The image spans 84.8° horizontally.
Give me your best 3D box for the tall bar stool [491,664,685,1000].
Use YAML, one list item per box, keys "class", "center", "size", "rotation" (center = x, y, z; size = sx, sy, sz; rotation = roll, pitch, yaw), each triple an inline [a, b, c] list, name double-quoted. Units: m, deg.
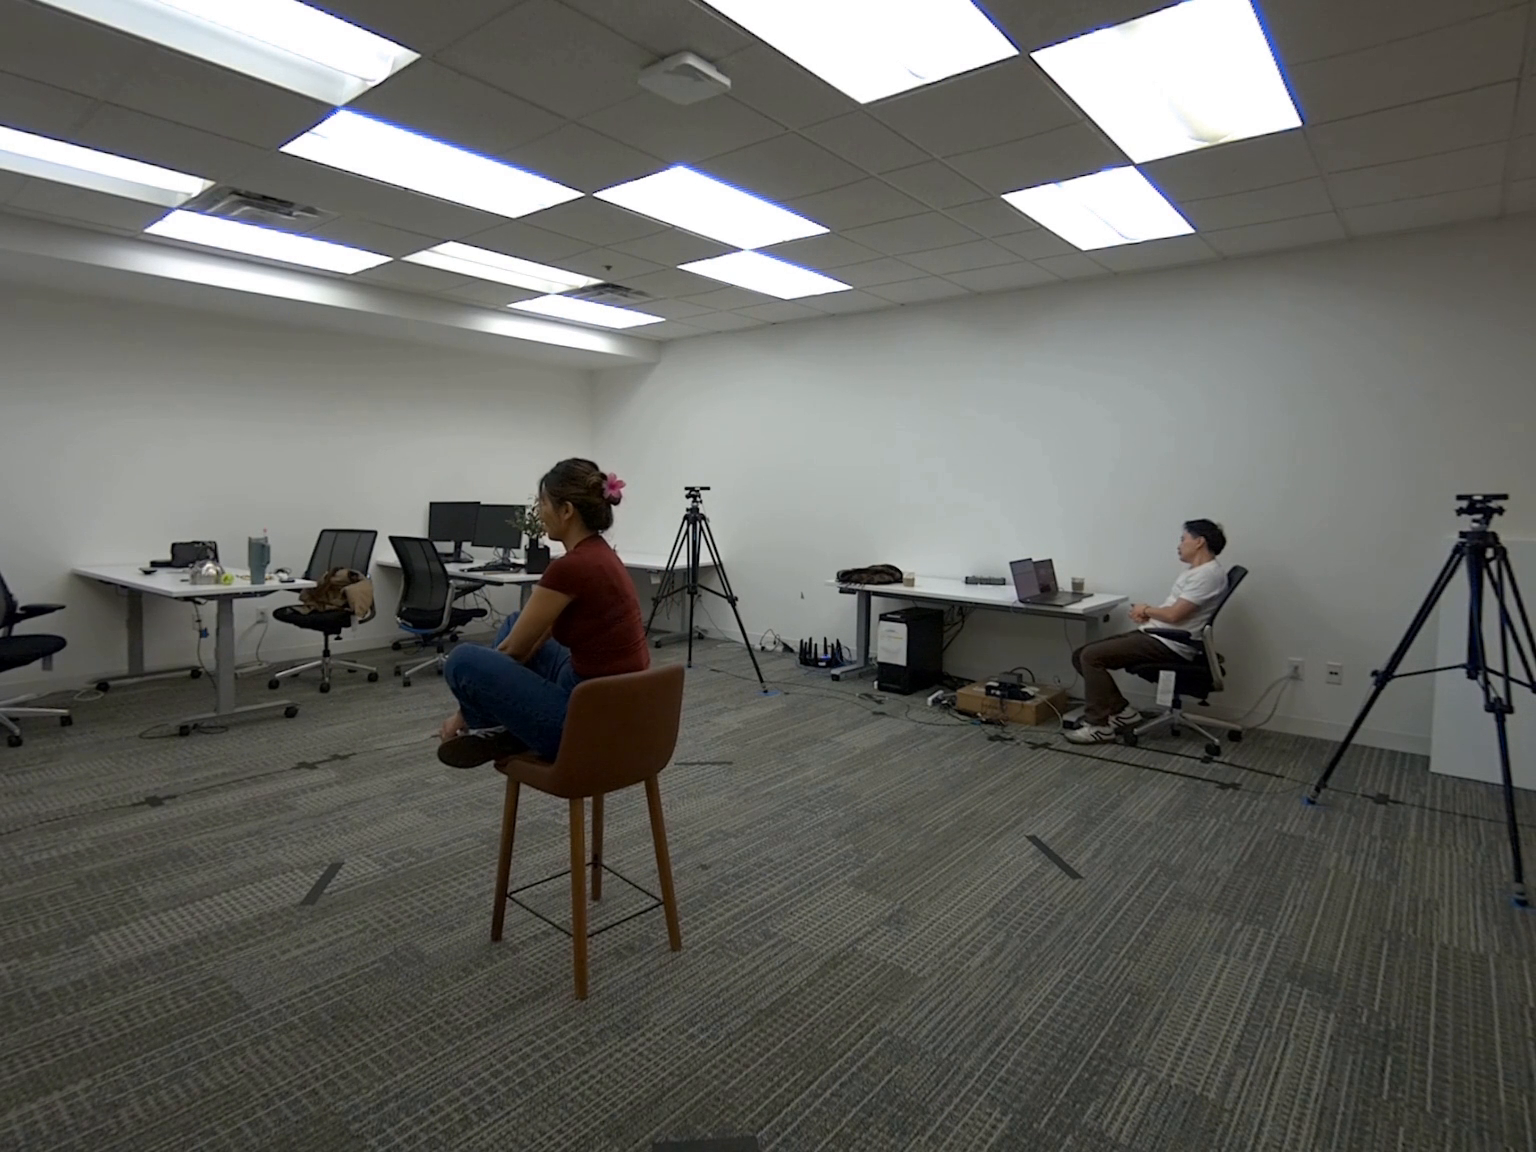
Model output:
- class: "tall bar stool"
  center: [-0.549, 0.684, 2.549]
  size: [0.484, 0.886, 0.443]
  rotation: [6, 7, 43]
